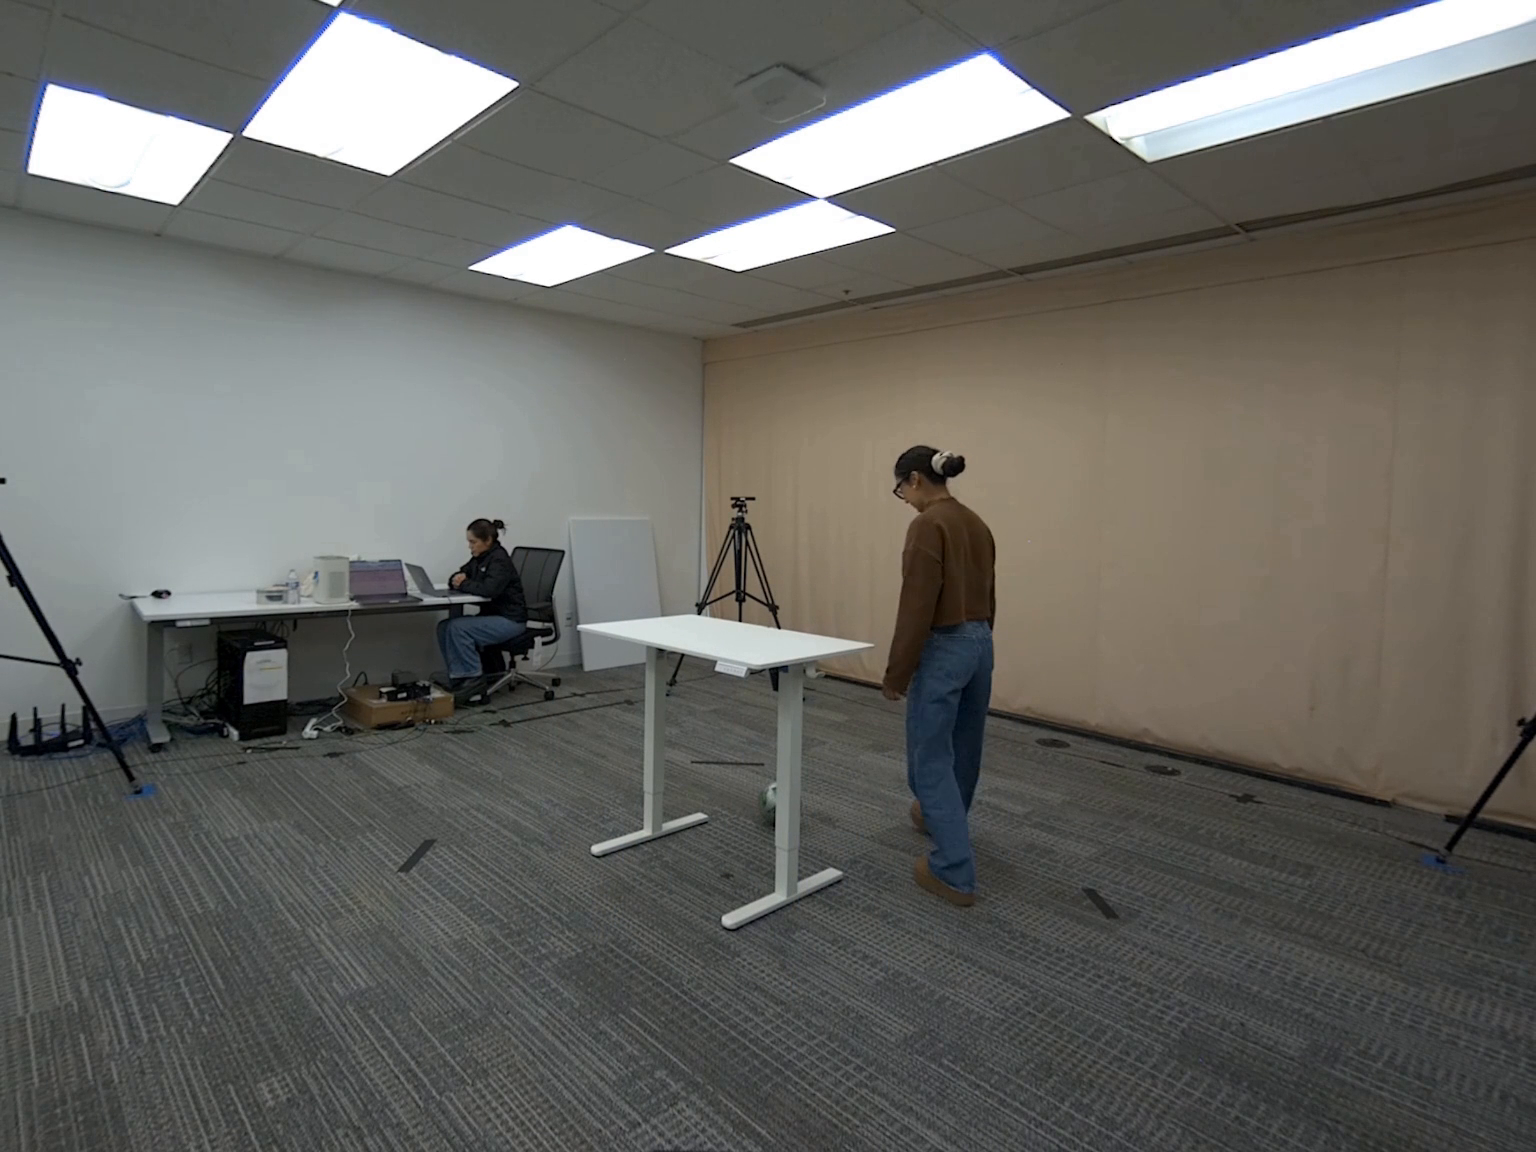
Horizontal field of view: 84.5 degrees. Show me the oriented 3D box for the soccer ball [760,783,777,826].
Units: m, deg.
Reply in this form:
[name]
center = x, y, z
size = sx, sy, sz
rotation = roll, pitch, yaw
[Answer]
[soccer ball]
center = 0.053, 0.978, 3.611
size = 0.187, 0.187, 0.188
rotation = 1, 4, -1
